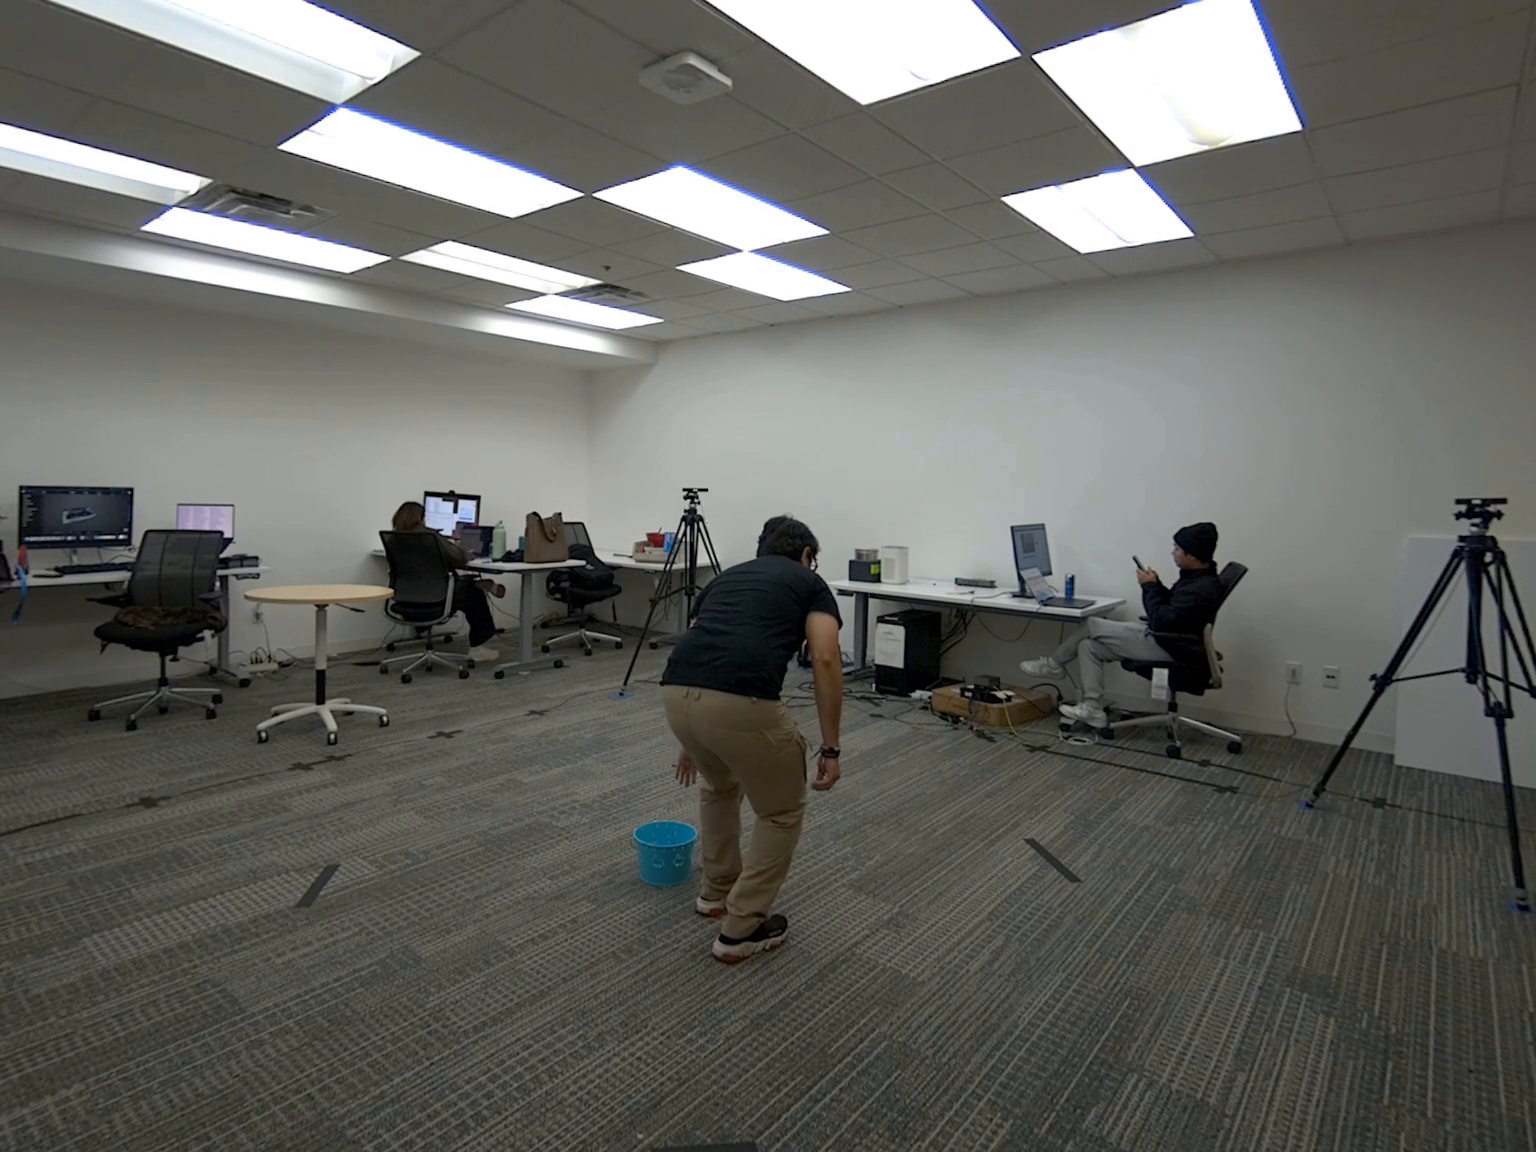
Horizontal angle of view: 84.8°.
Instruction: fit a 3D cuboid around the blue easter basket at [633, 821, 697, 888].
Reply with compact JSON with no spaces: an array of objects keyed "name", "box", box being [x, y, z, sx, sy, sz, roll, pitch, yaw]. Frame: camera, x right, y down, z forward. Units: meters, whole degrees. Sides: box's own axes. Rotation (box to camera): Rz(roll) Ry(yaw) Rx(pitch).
[{"name":"blue easter basket","box":[-0.373,0.992,3.064,0.243,0.155,0.245,1,5,-2]}]
